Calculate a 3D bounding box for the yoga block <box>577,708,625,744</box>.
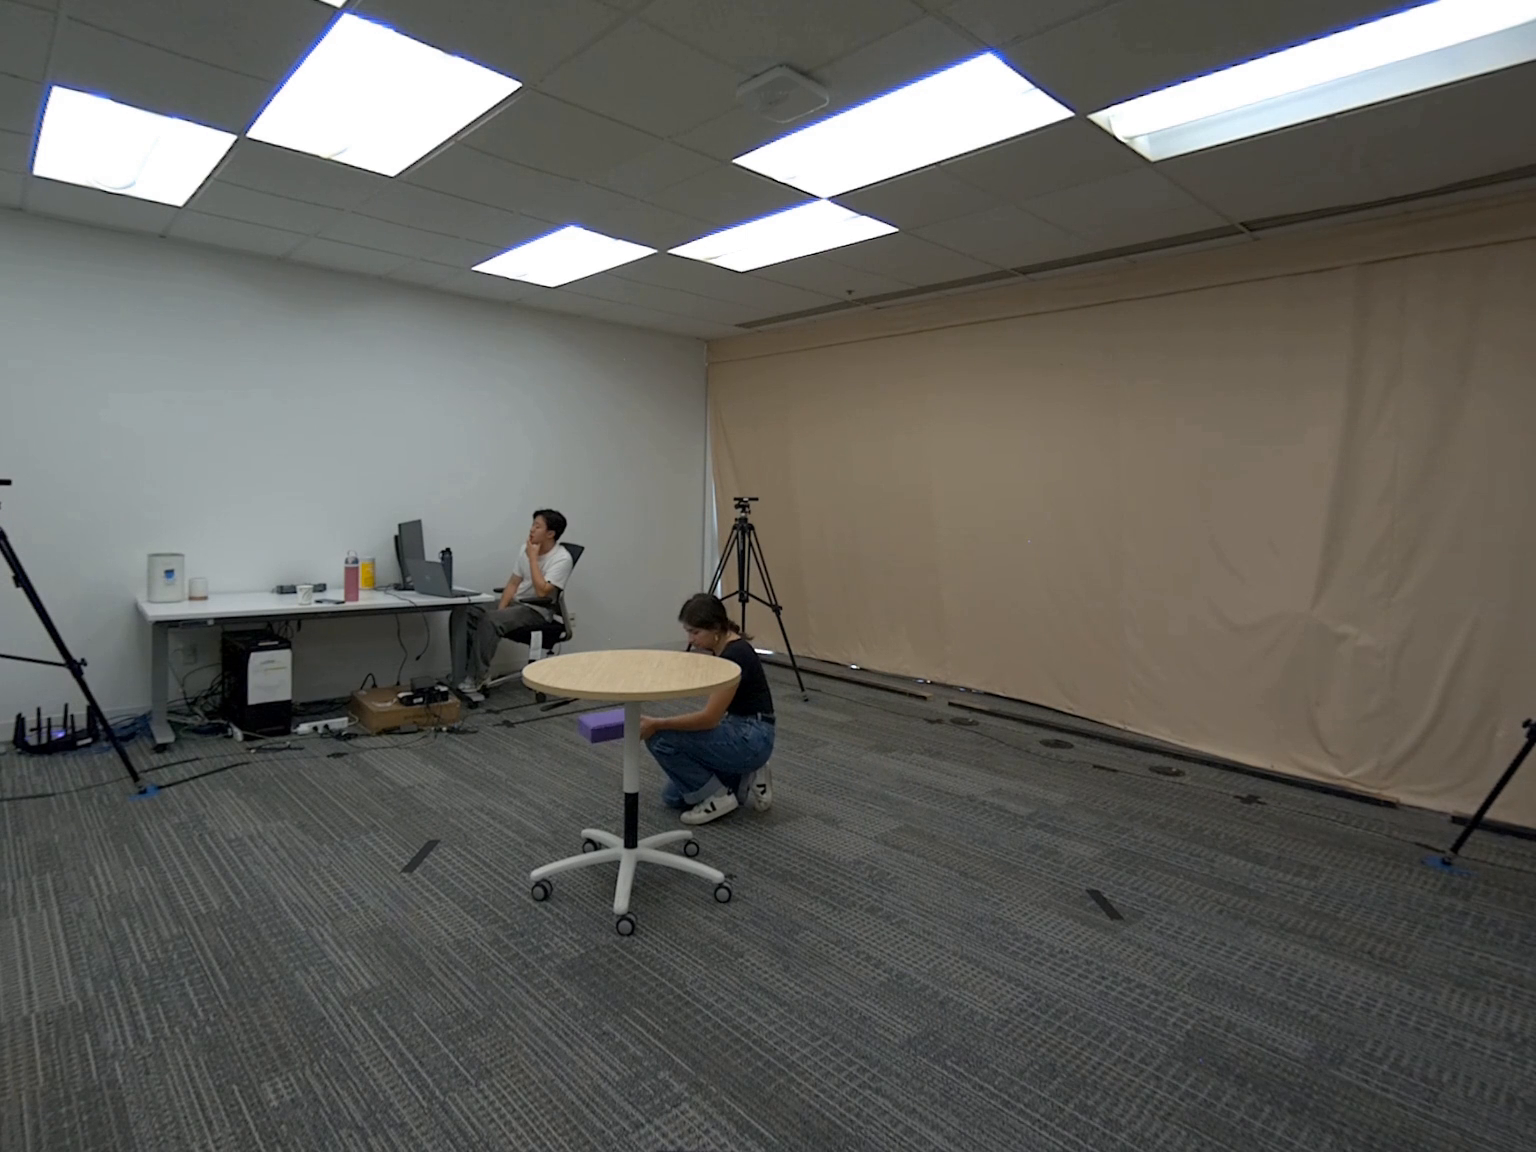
[{"bbox_3d":[-0.684,0.643,3.556,0.224,0.076,0.153,-6,14,-36],"label":"yoga block"}]
